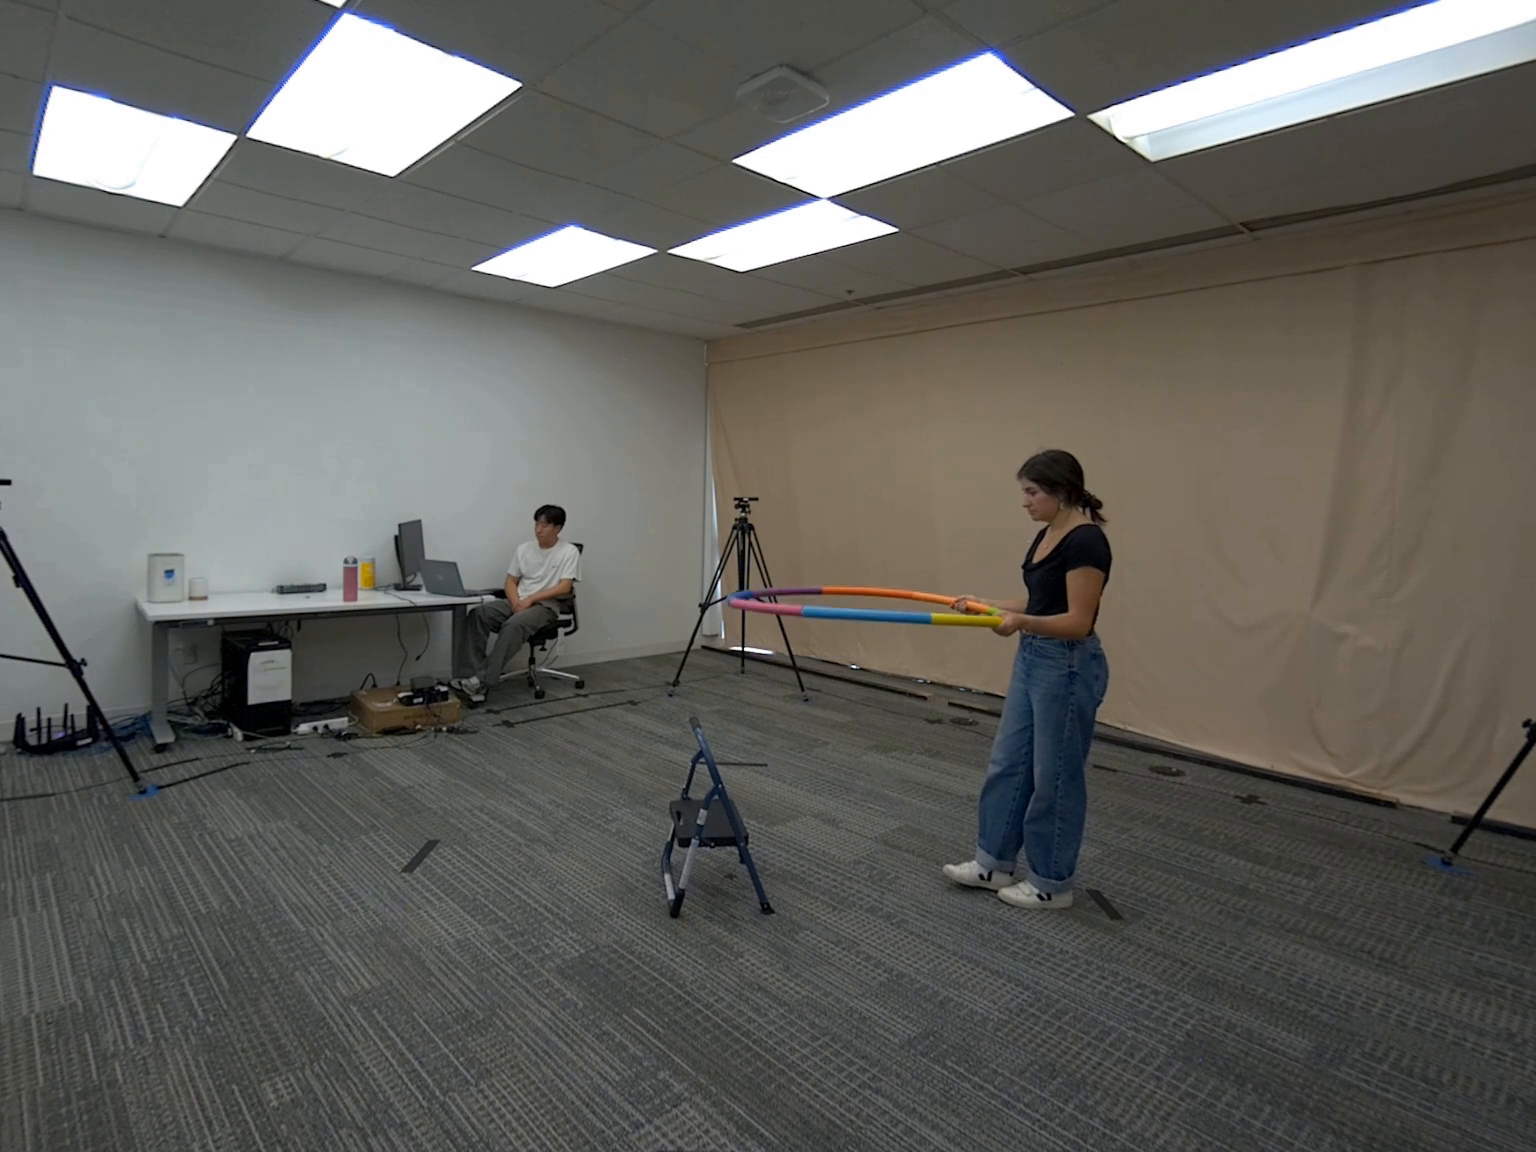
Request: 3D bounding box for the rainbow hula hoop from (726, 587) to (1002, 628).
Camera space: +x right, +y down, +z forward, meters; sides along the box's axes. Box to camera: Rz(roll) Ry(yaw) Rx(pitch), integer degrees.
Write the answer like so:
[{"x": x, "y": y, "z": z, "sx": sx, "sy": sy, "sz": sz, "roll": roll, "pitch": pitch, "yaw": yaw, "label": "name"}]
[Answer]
[{"x": 0.362, "y": 0.113, "z": 2.922, "sx": 0.978, "sy": 0.035, "sz": 0.981, "roll": 3, "pitch": 3, "yaw": -1, "label": "rainbow hula hoop"}]
